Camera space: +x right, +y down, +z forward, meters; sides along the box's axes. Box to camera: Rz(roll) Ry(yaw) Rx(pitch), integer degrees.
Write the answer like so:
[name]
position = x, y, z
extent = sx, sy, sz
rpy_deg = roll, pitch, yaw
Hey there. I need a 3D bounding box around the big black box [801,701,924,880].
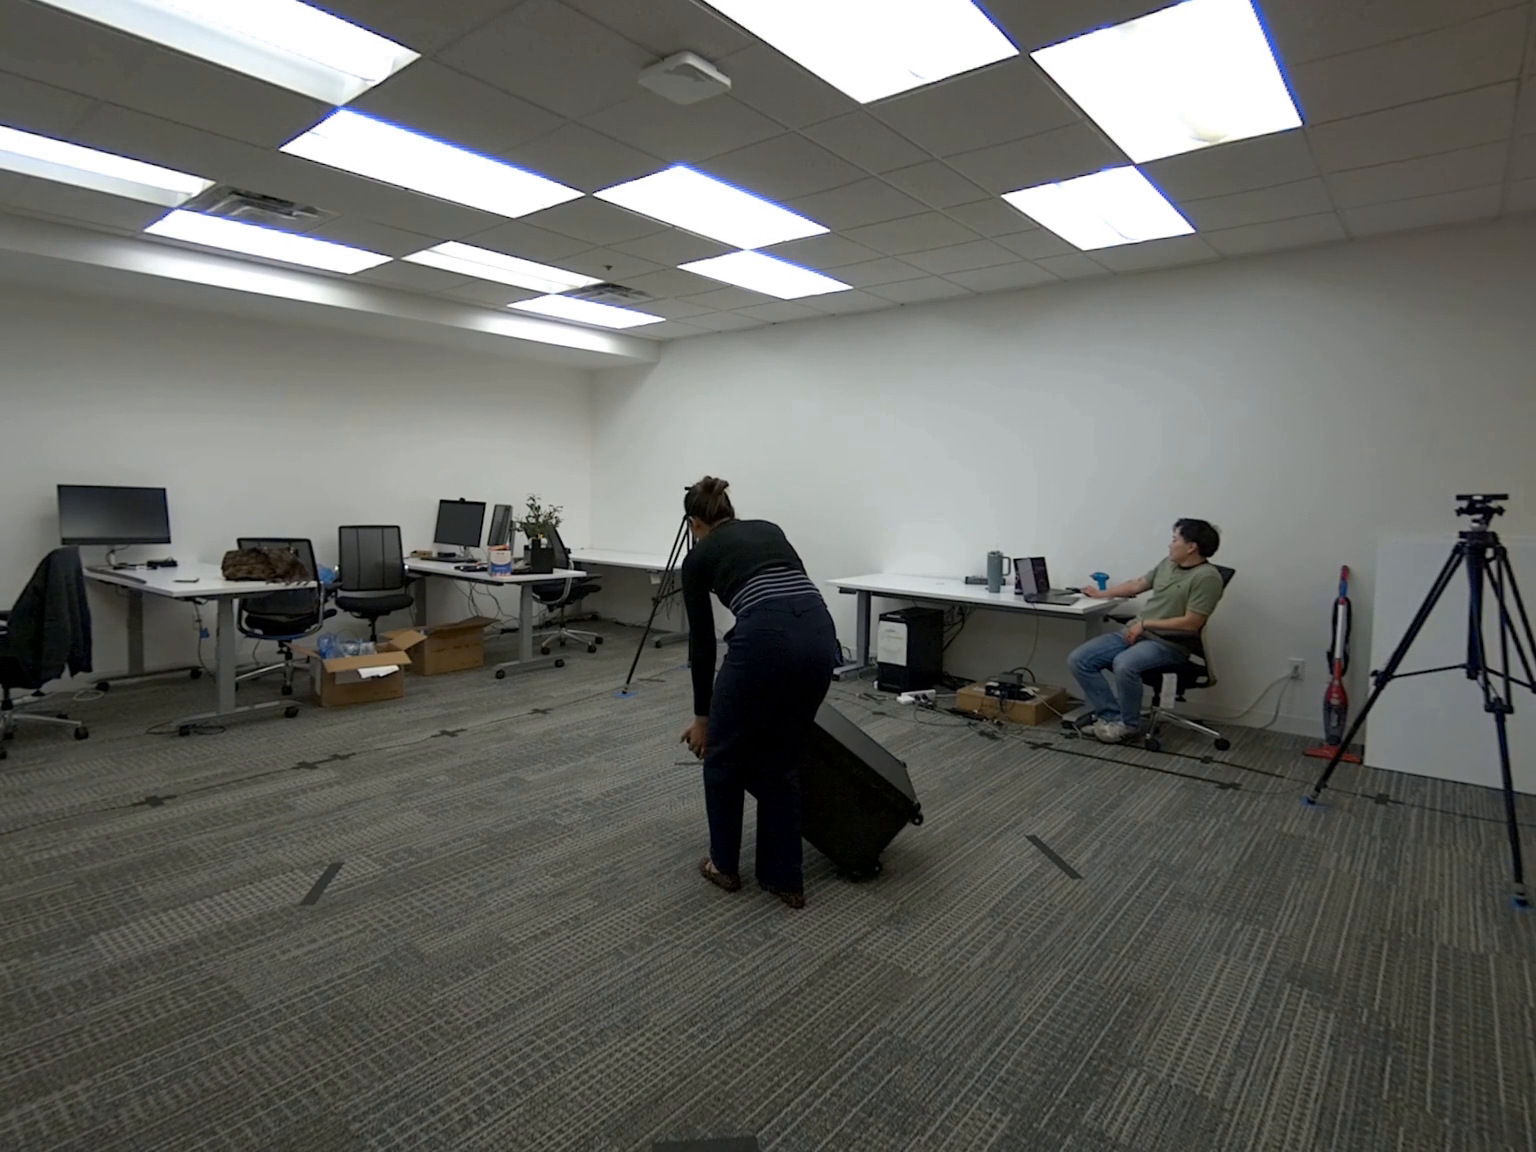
[big black box]
position = 0.142, 0.703, 3.247
extent = 0.865, 0.396, 0.520
rpy_deg = 38, 7, 2
